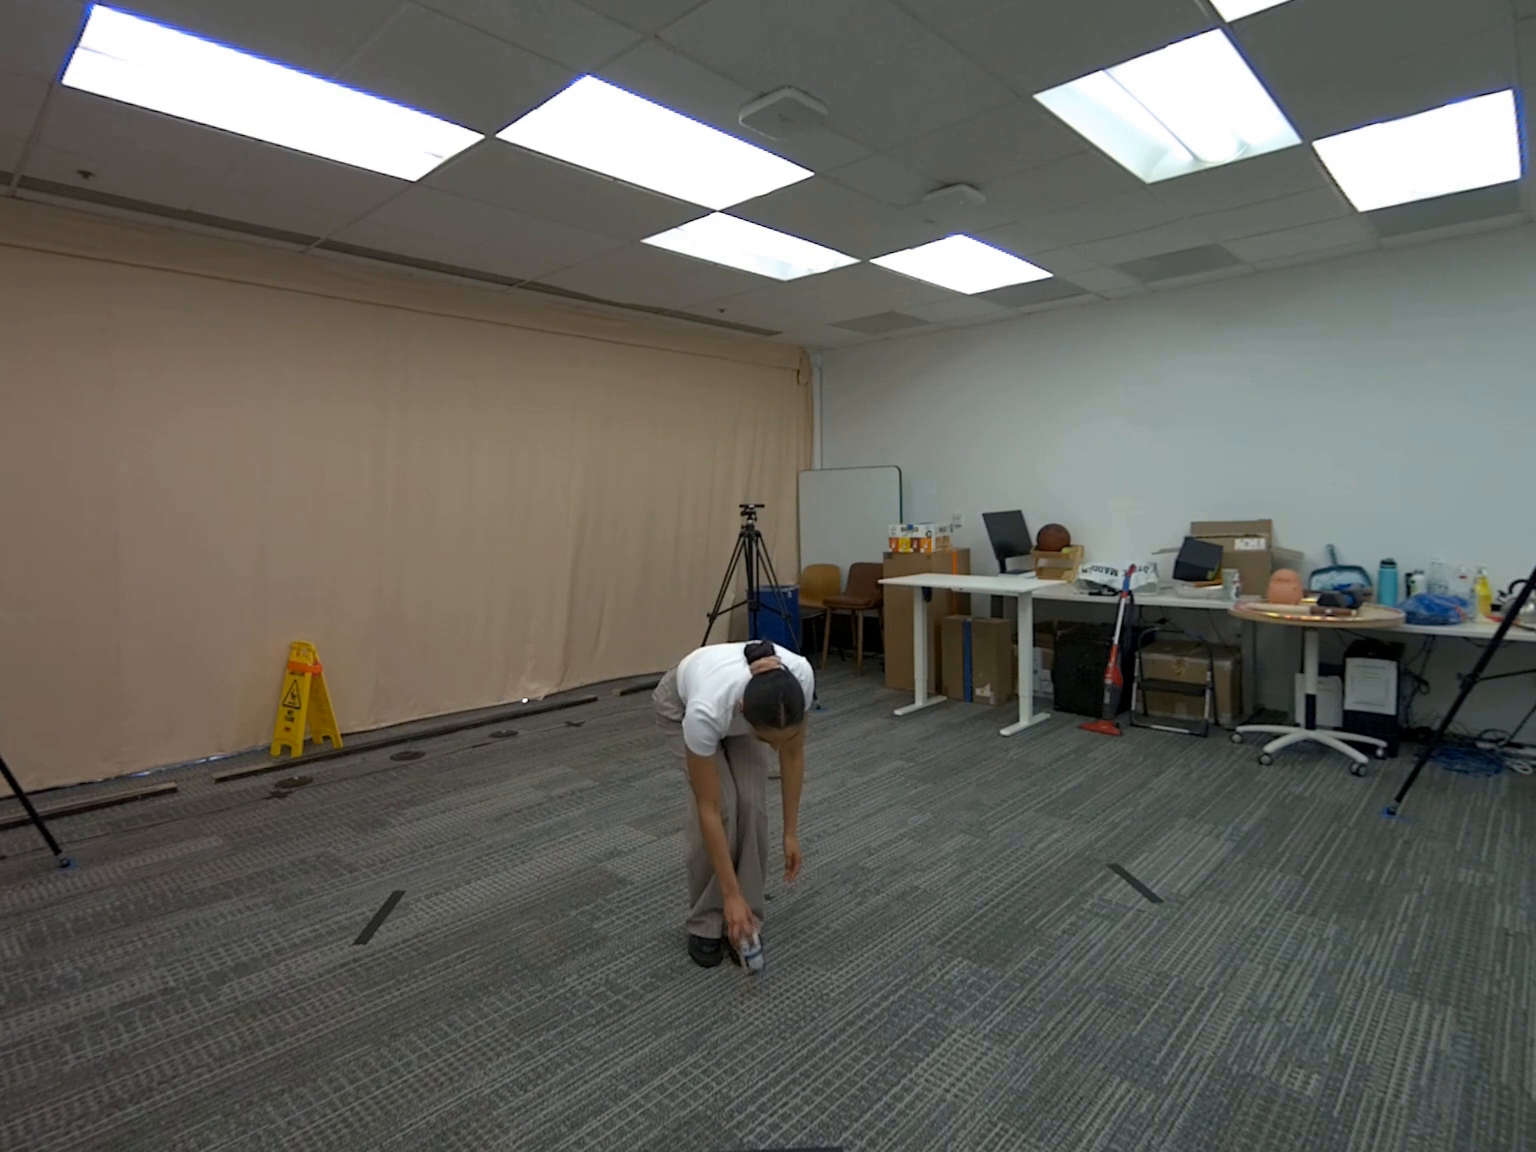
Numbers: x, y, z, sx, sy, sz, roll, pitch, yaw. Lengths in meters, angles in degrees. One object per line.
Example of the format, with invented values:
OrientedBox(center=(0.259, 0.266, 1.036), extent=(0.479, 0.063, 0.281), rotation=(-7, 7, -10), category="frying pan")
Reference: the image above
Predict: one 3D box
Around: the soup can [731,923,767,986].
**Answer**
OrientedBox(center=(-0.036, 1.070, 2.391), extent=(0.067, 0.121, 0.067), rotation=(-10, 3, -1), category="soup can")
